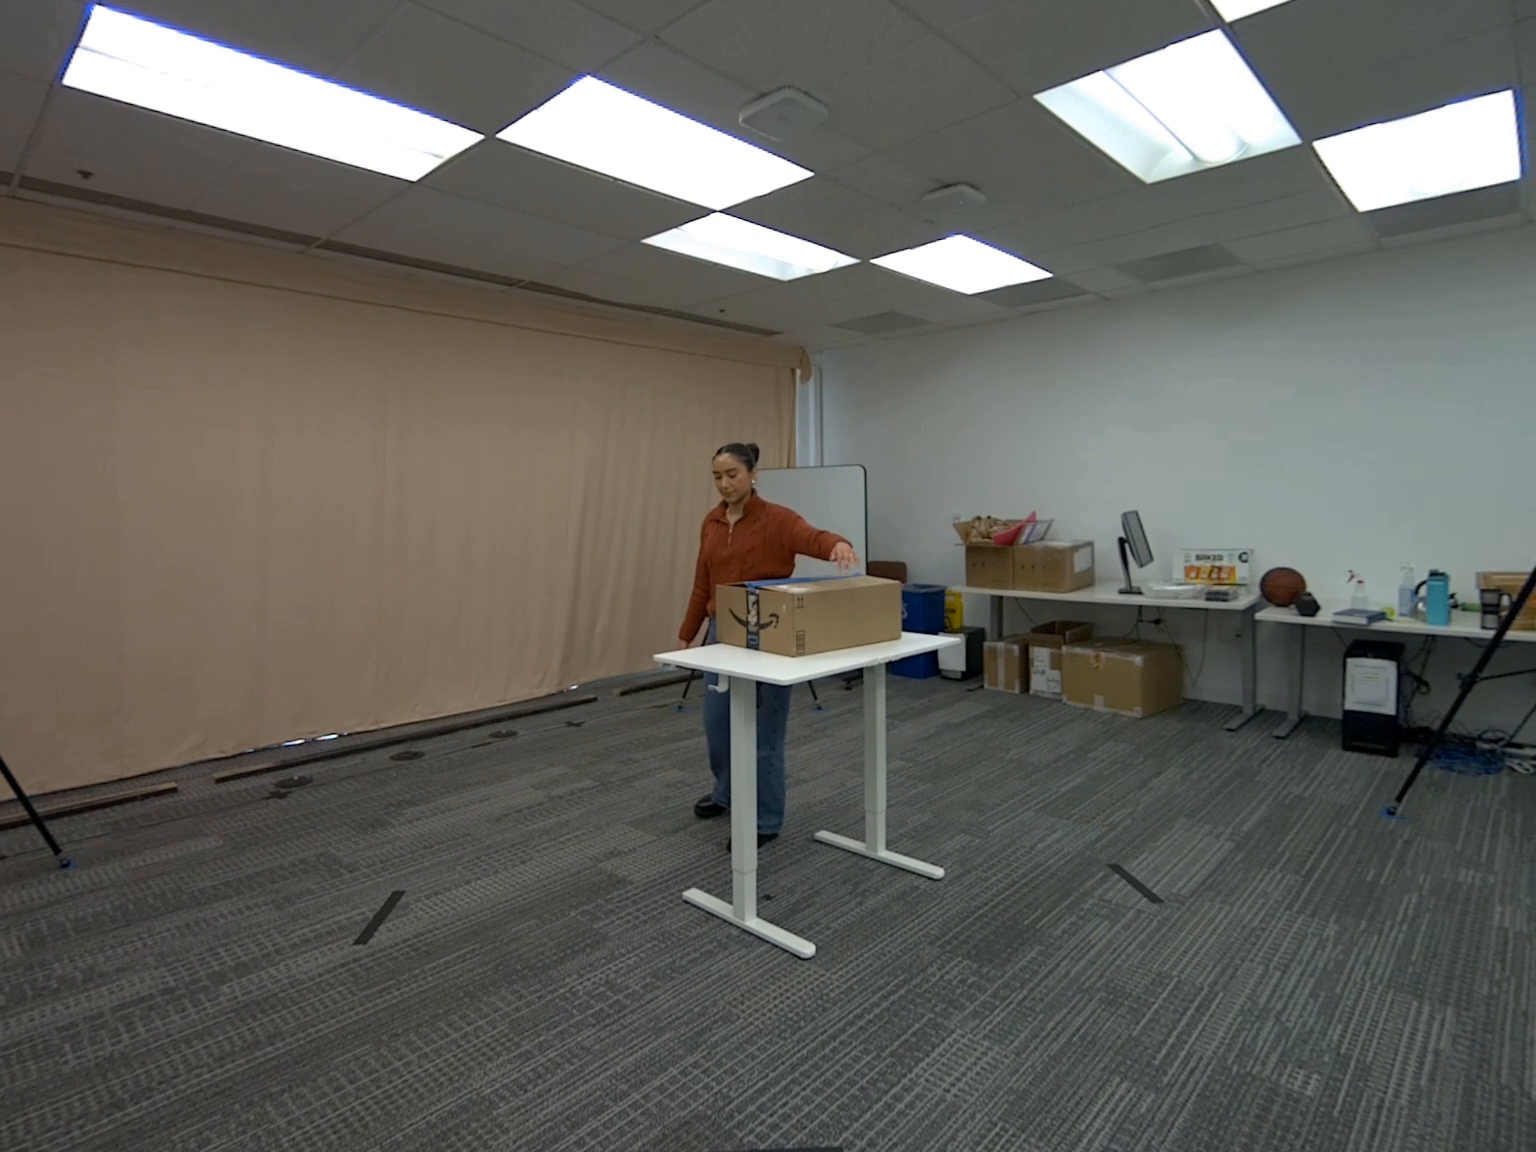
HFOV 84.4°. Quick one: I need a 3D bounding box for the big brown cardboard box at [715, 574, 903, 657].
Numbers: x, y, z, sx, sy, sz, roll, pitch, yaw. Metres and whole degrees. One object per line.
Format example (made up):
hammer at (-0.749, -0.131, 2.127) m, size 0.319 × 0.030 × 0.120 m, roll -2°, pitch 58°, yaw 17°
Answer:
big brown cardboard box at (0.156, 0.133, 3.119) m, size 0.571 × 0.233 × 0.431 m, roll -3°, pitch 5°, yaw -40°
